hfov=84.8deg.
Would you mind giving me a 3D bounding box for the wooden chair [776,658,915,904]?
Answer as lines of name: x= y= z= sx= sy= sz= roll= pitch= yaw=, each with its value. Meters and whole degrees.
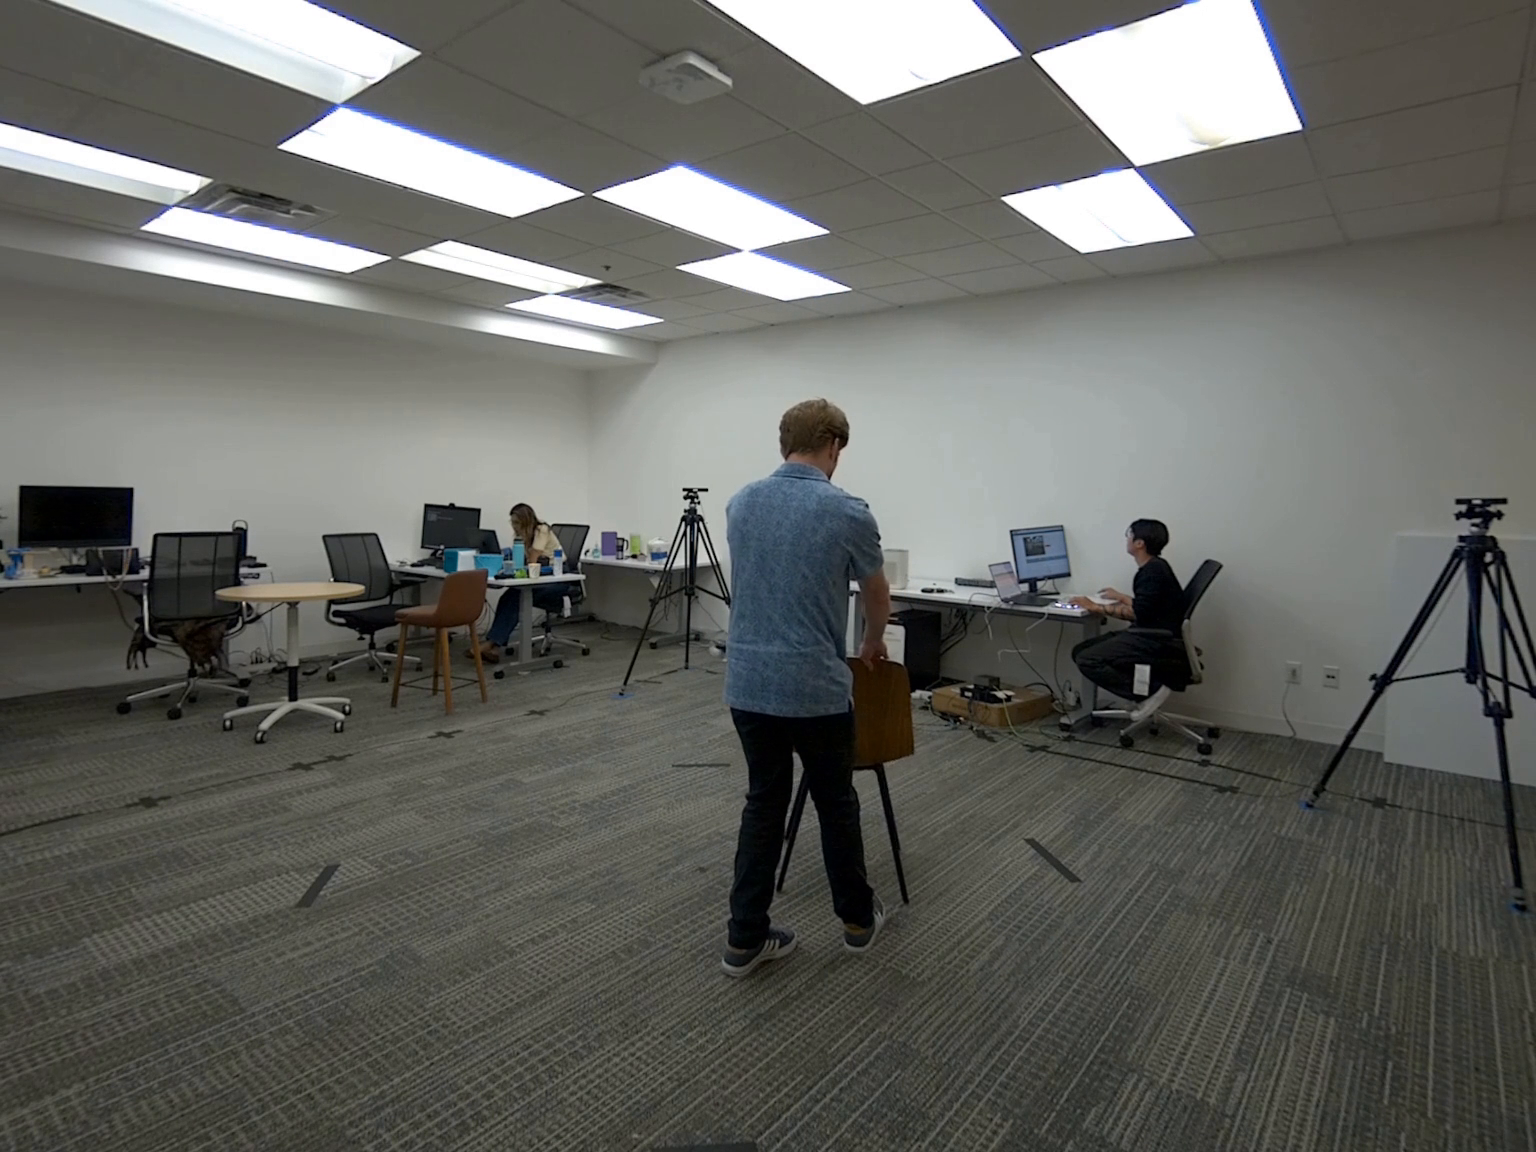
wooden chair: x=0.268 y=0.649 z=3.116 sx=0.482 sy=0.871 sz=0.523 roll=2 pitch=7 yaw=6
